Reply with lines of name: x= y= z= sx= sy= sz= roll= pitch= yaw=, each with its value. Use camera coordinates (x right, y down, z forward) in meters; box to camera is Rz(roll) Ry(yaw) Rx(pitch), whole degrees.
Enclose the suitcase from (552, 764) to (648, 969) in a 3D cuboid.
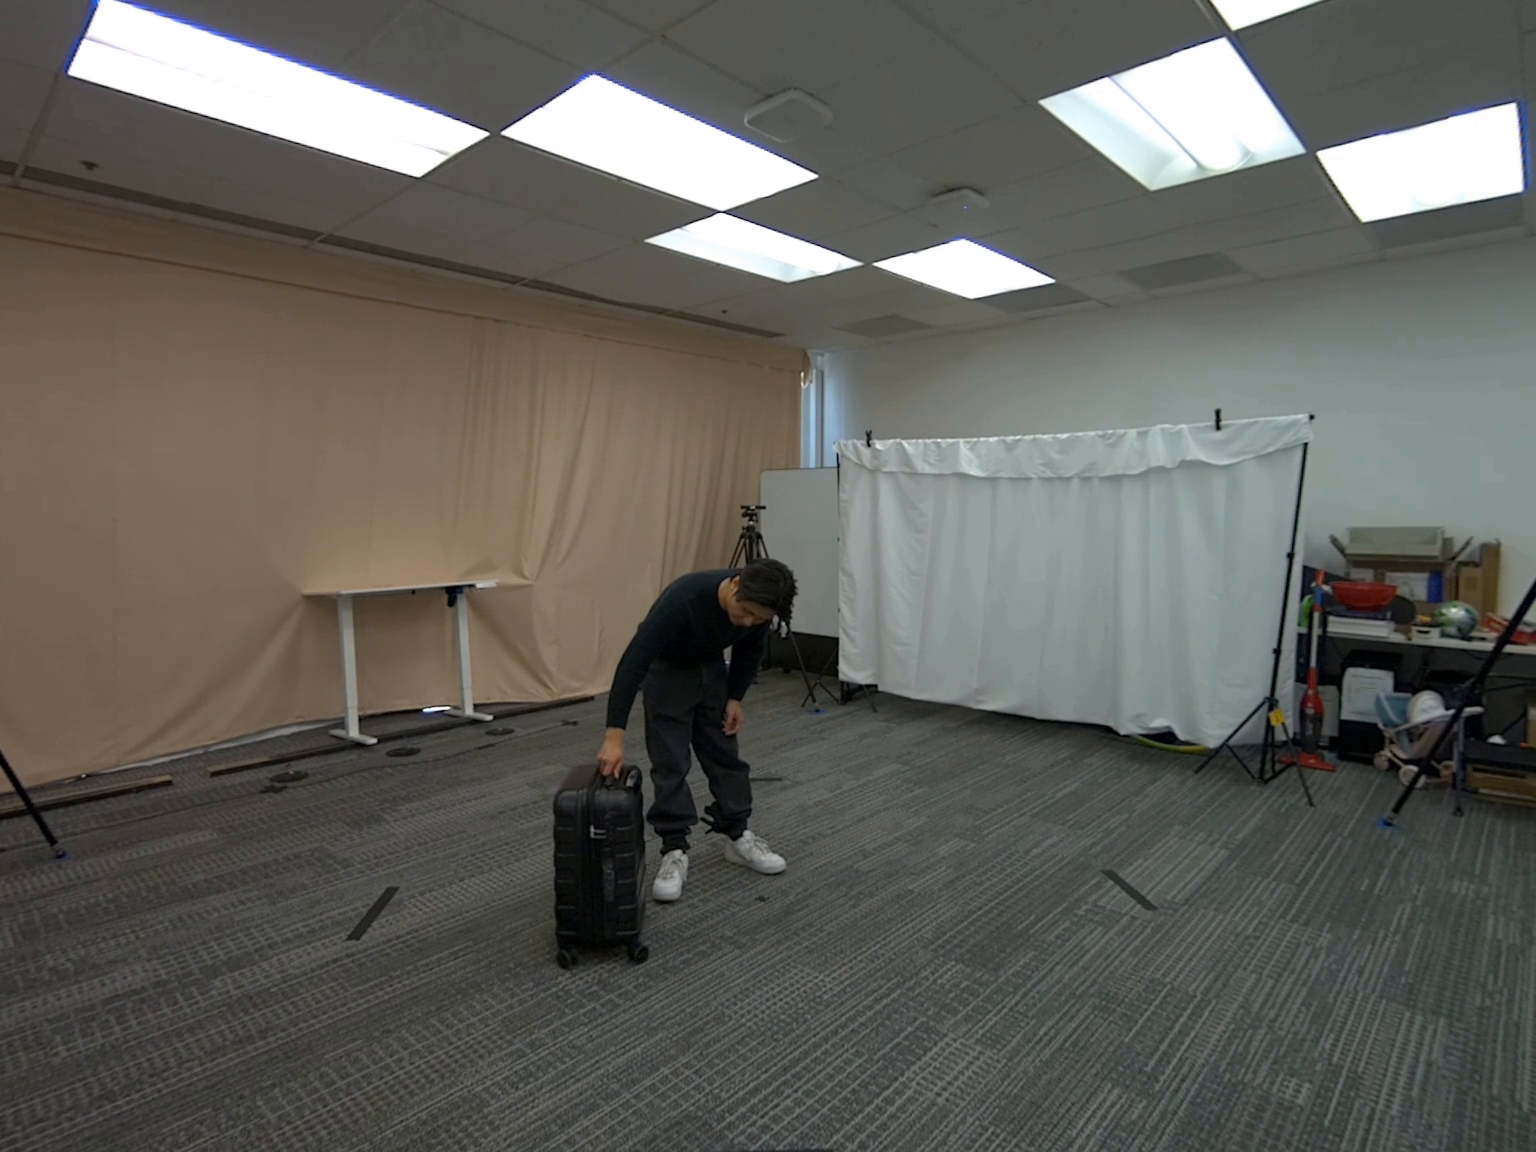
suitcase: x=-0.538 y=0.896 z=2.691 sx=0.249 sy=0.548 sz=0.375 roll=-1 pitch=3 yaw=1
